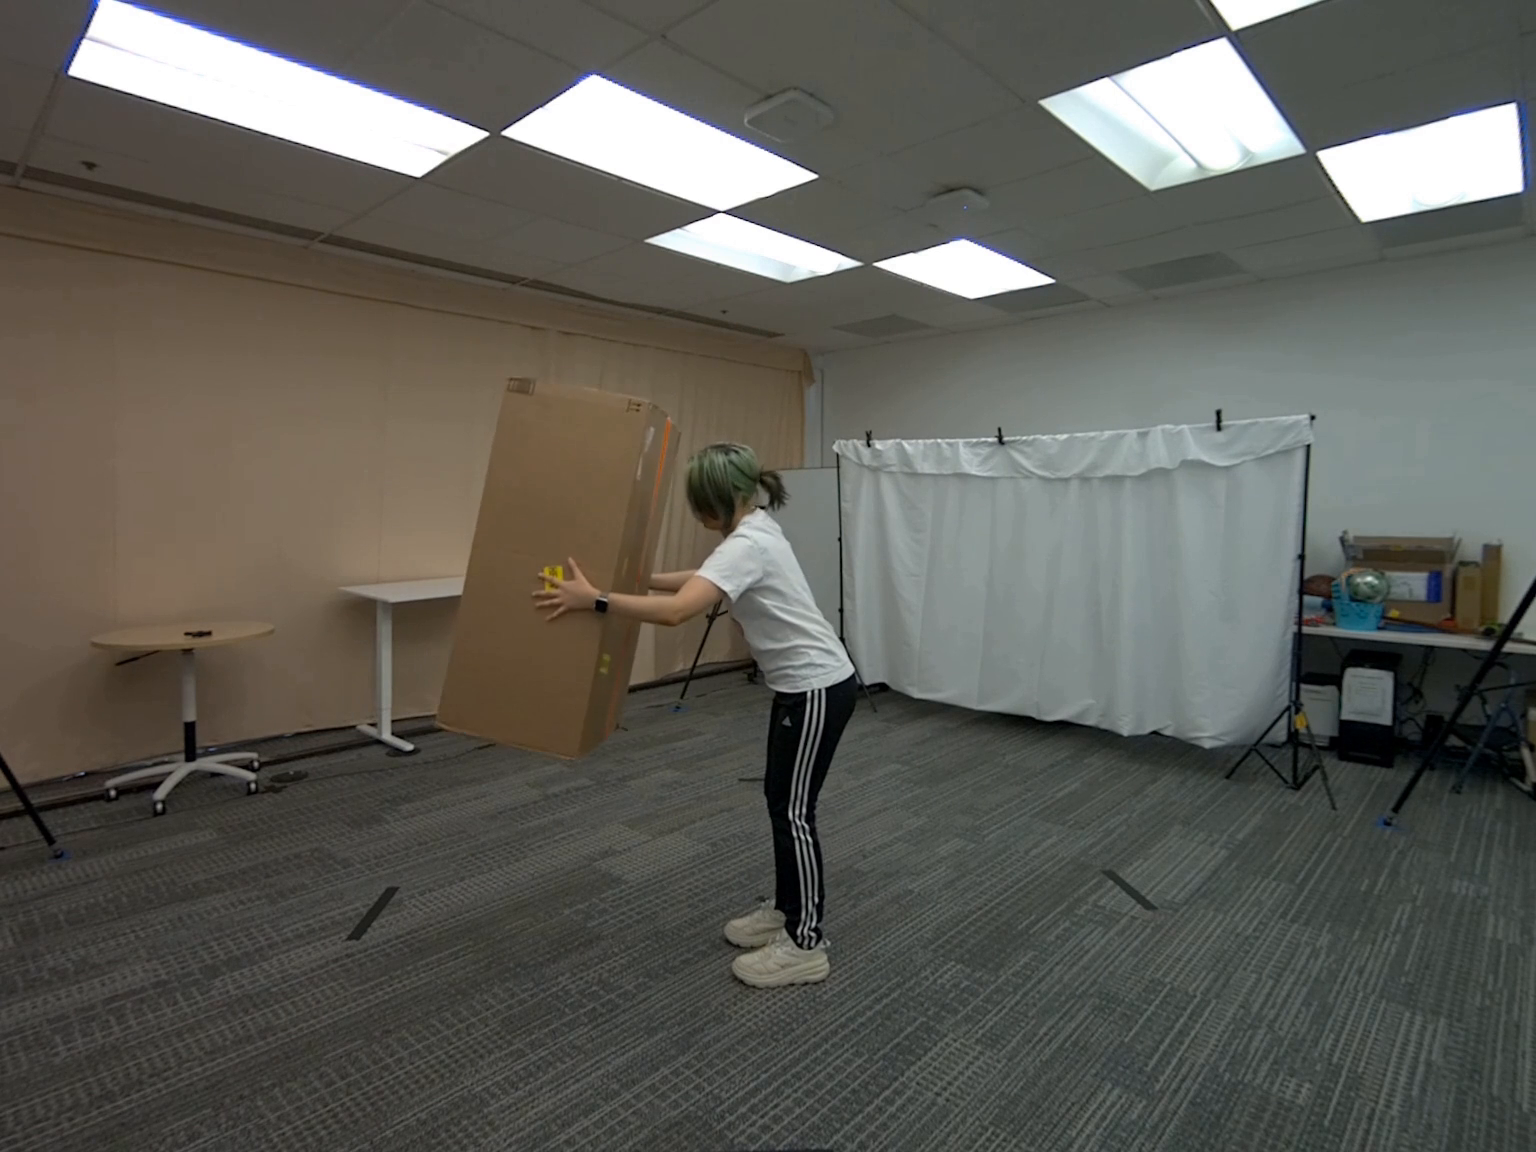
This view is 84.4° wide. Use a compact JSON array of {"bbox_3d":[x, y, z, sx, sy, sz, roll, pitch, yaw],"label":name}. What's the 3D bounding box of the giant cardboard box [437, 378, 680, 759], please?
[{"bbox_3d":[-0.614,-0.031,2.625,0.450,1.027,0.580,11,0,4],"label":"giant cardboard box"}]
